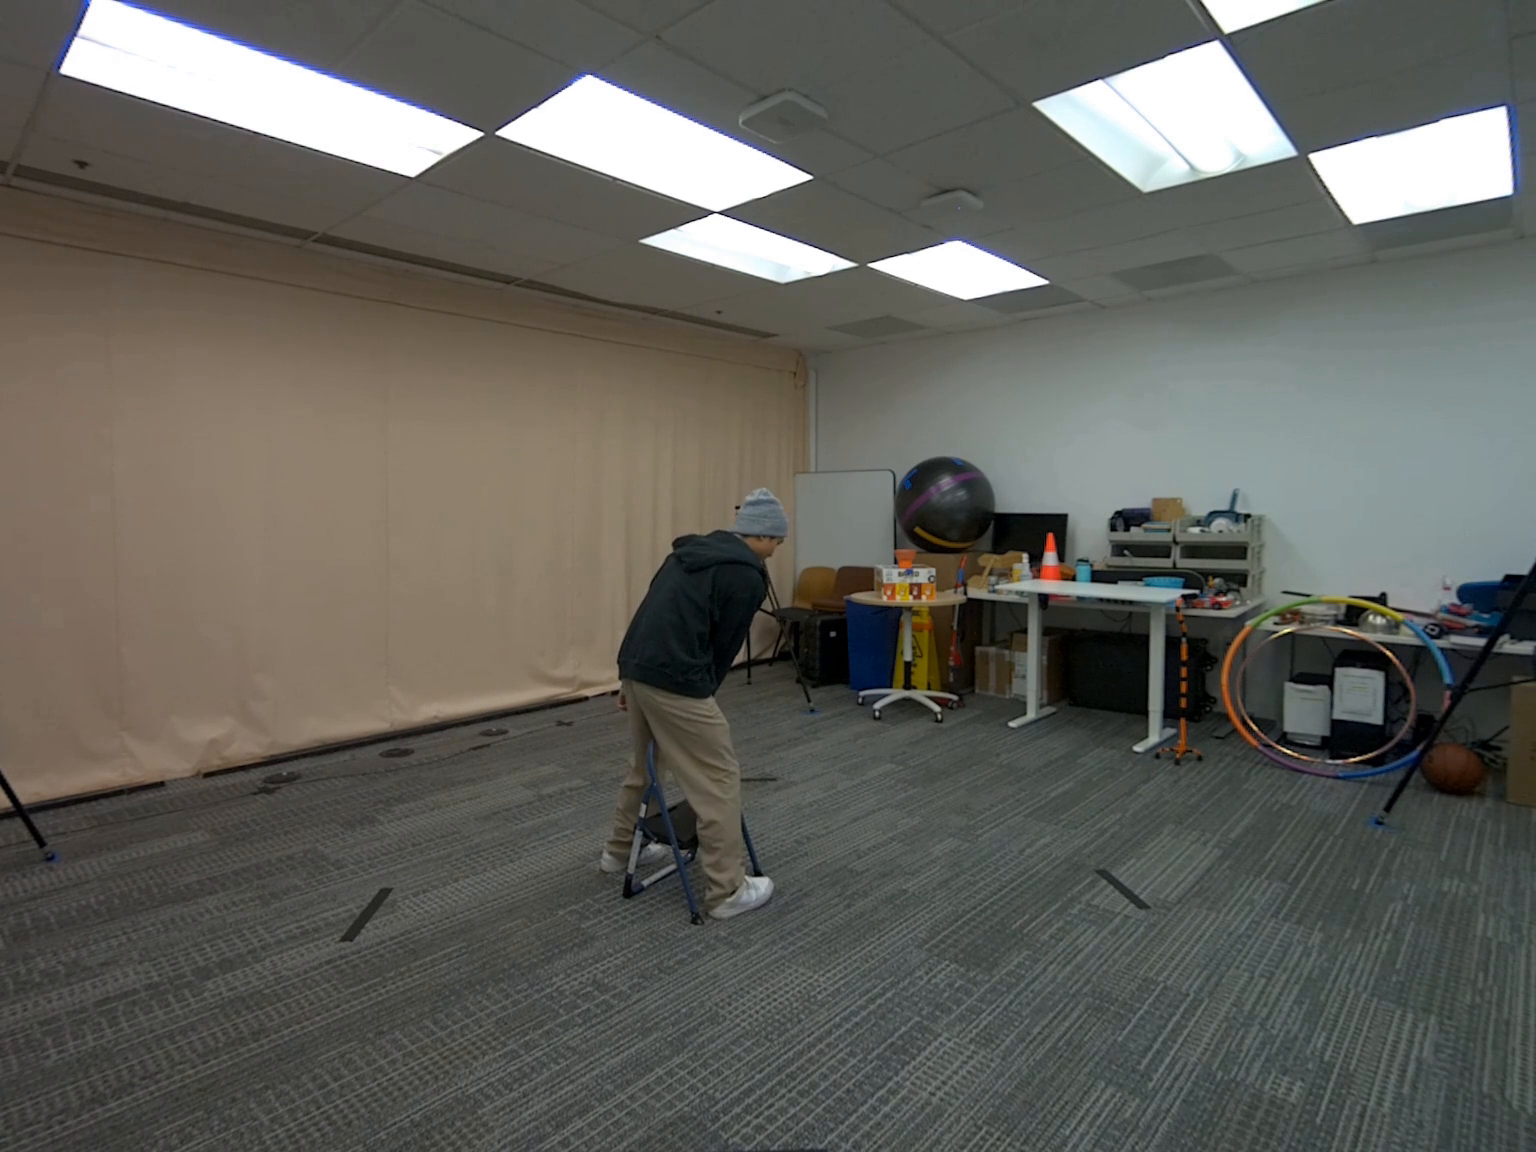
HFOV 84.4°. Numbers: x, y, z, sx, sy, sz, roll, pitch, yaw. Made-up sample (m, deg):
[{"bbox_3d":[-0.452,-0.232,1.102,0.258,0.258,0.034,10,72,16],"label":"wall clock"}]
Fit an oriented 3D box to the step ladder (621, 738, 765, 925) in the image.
[{"bbox_3d":[-0.268,0.840,3.053,0.360,0.605,0.418,1,3,32],"label":"step ladder"}]
